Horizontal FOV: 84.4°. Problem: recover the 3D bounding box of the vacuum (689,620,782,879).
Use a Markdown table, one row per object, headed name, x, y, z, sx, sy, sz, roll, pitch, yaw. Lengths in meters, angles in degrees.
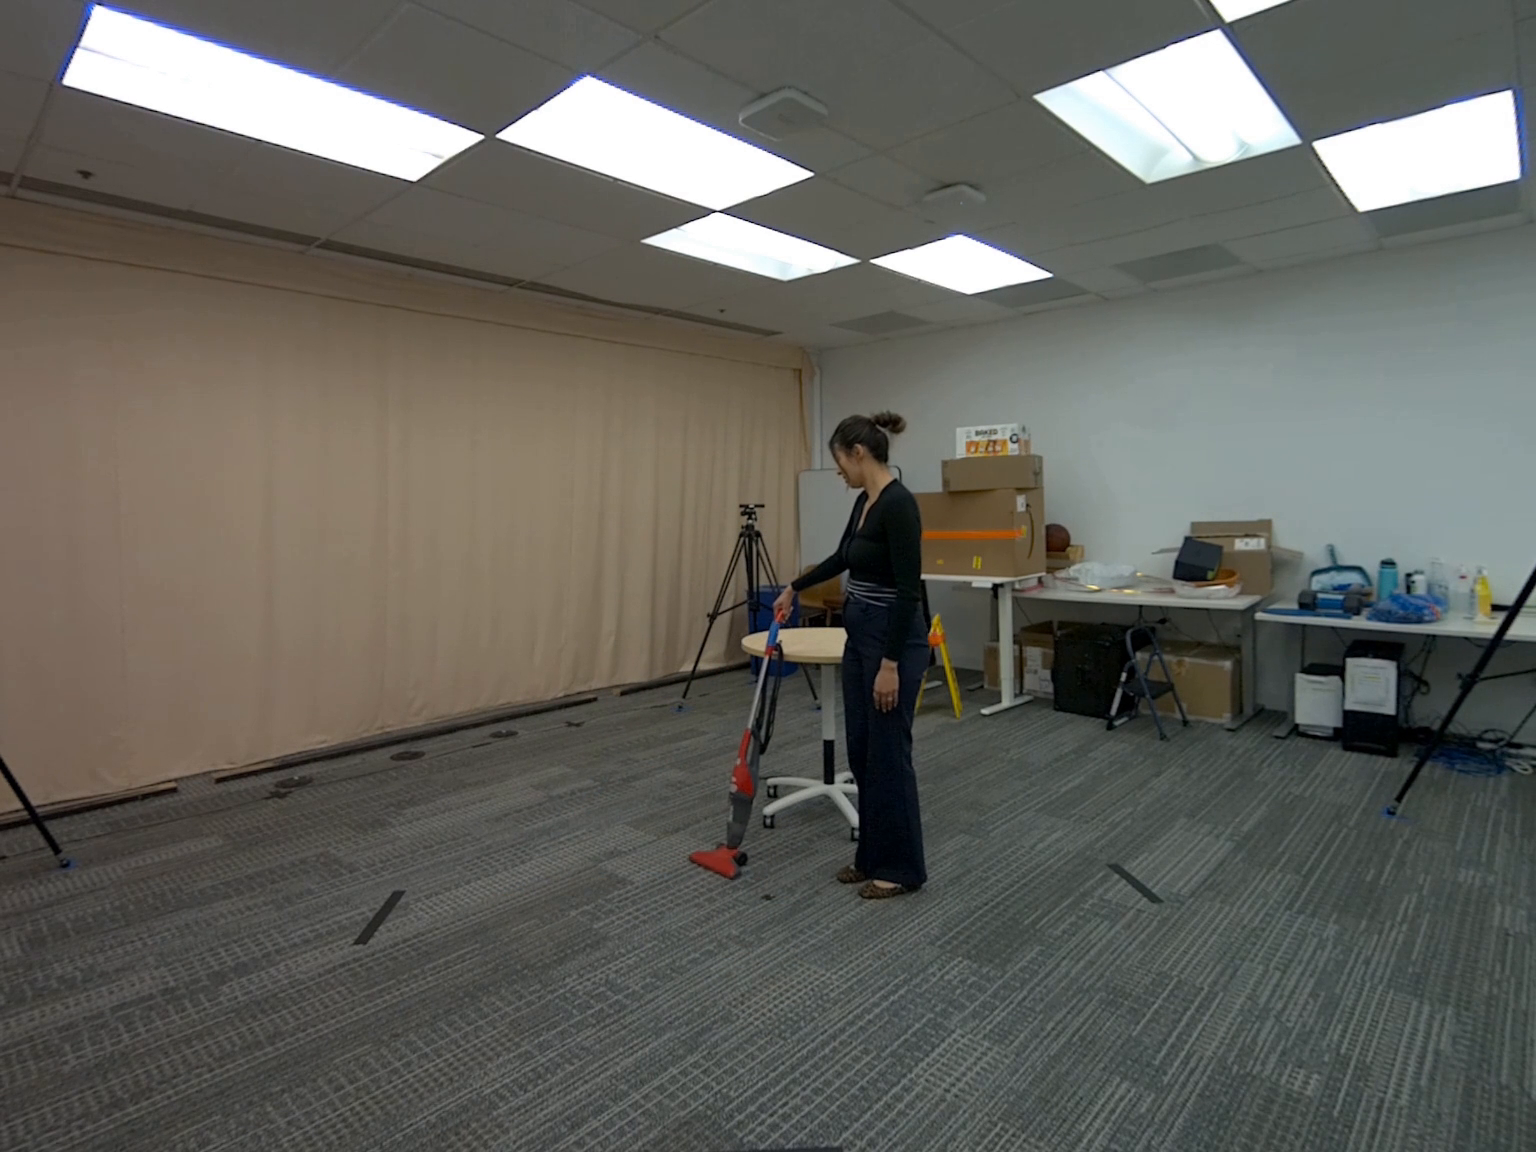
| name | x | y | z | sx | sy | sz | roll | pitch | yaw |
| --- | --- | --- | --- | --- | --- | --- | --- | --- | --- |
| vacuum | -0.048 | 0.619 | 3.364 | 0.261 | 1.053 | 0.139 | 3 | -17 | 45 |
